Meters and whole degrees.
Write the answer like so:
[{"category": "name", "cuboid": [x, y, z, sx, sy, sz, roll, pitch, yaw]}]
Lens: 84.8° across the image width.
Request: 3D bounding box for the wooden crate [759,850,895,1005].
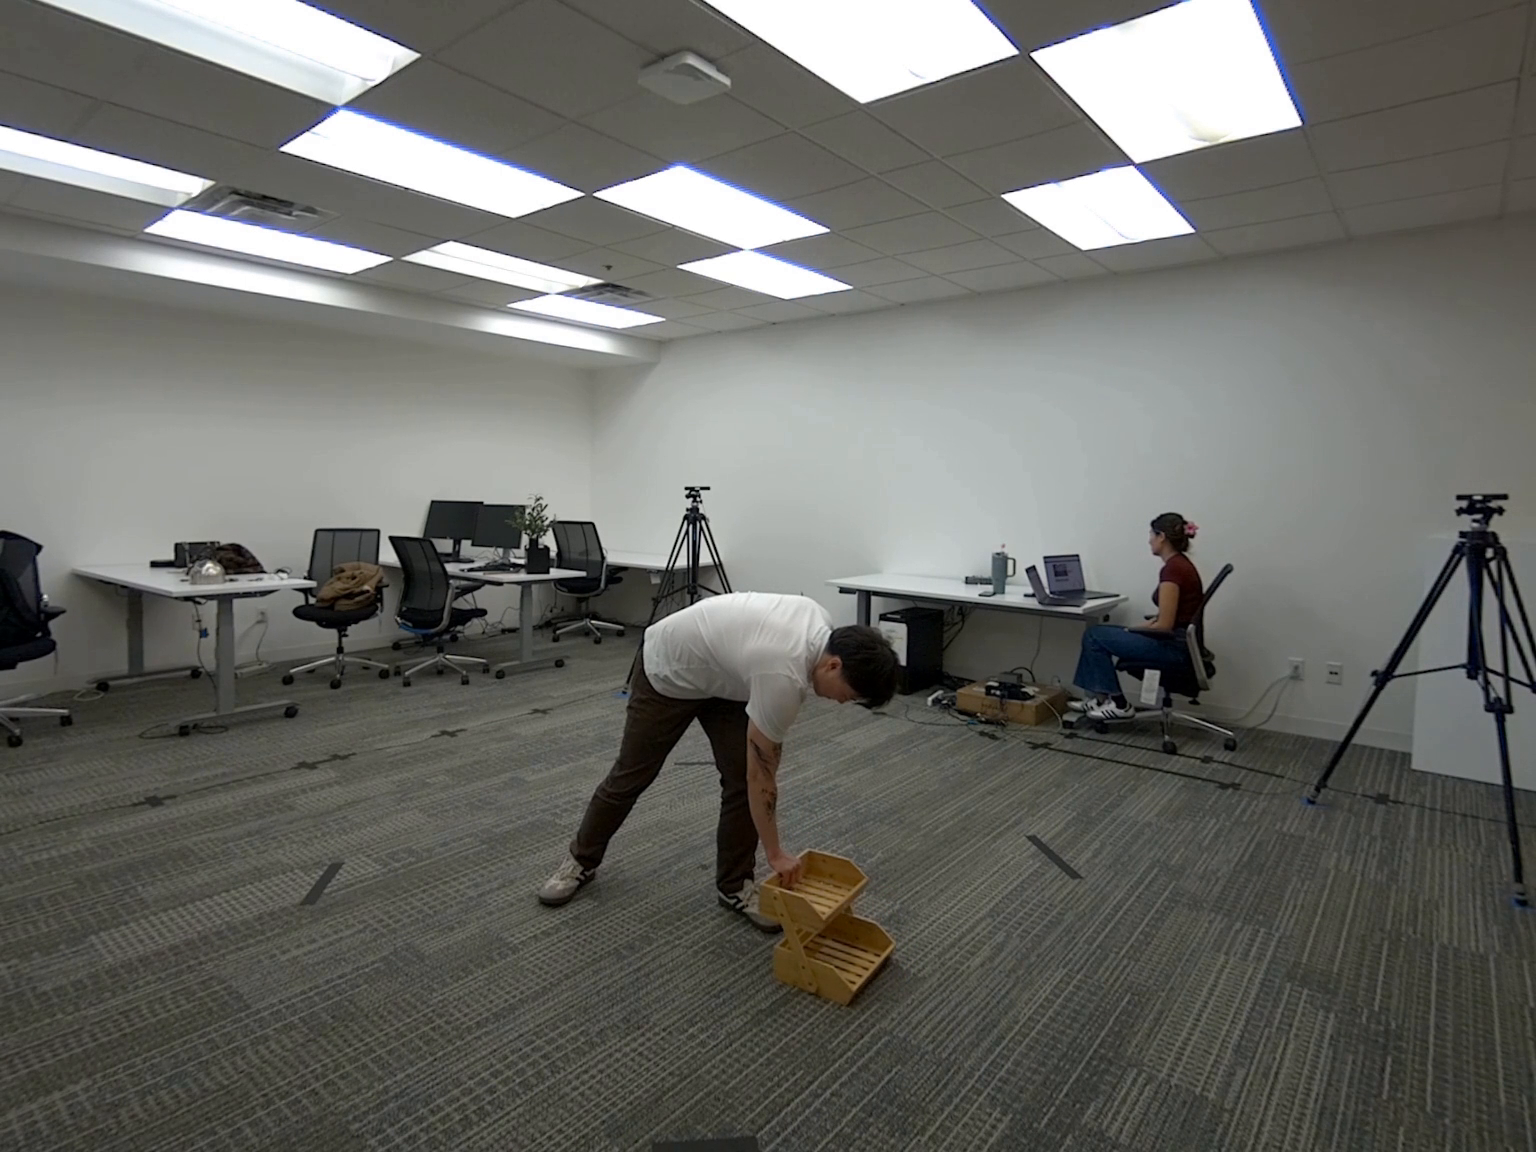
[{"category": "wooden crate", "cuboid": [0.173, 1.002, 2.477, 0.311, 0.272, 0.316, 3, 5, 32]}]
